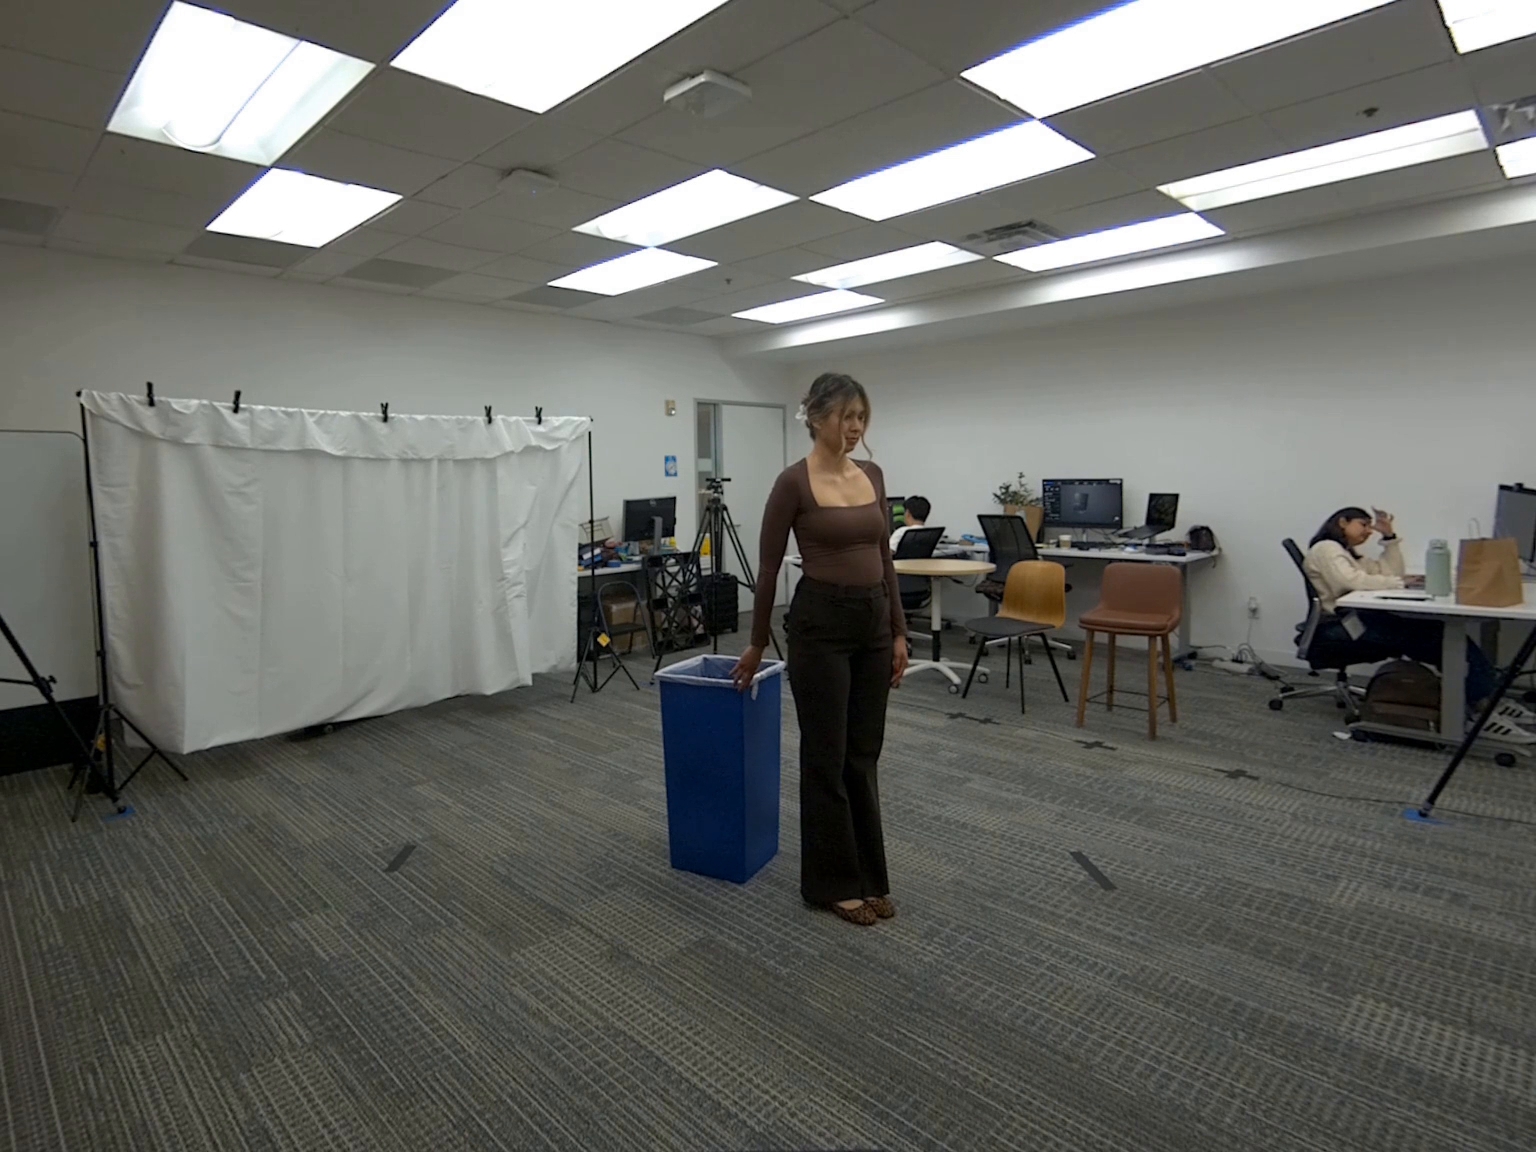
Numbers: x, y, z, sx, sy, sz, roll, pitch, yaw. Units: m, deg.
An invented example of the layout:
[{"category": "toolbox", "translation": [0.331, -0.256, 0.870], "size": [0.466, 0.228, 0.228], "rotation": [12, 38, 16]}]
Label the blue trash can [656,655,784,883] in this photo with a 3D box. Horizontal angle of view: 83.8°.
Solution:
[{"category": "blue trash can", "translation": [-0.157, 0.684, 3.114], "size": [0.387, 0.712, 0.366], "rotation": [1, 3, 26]}]
